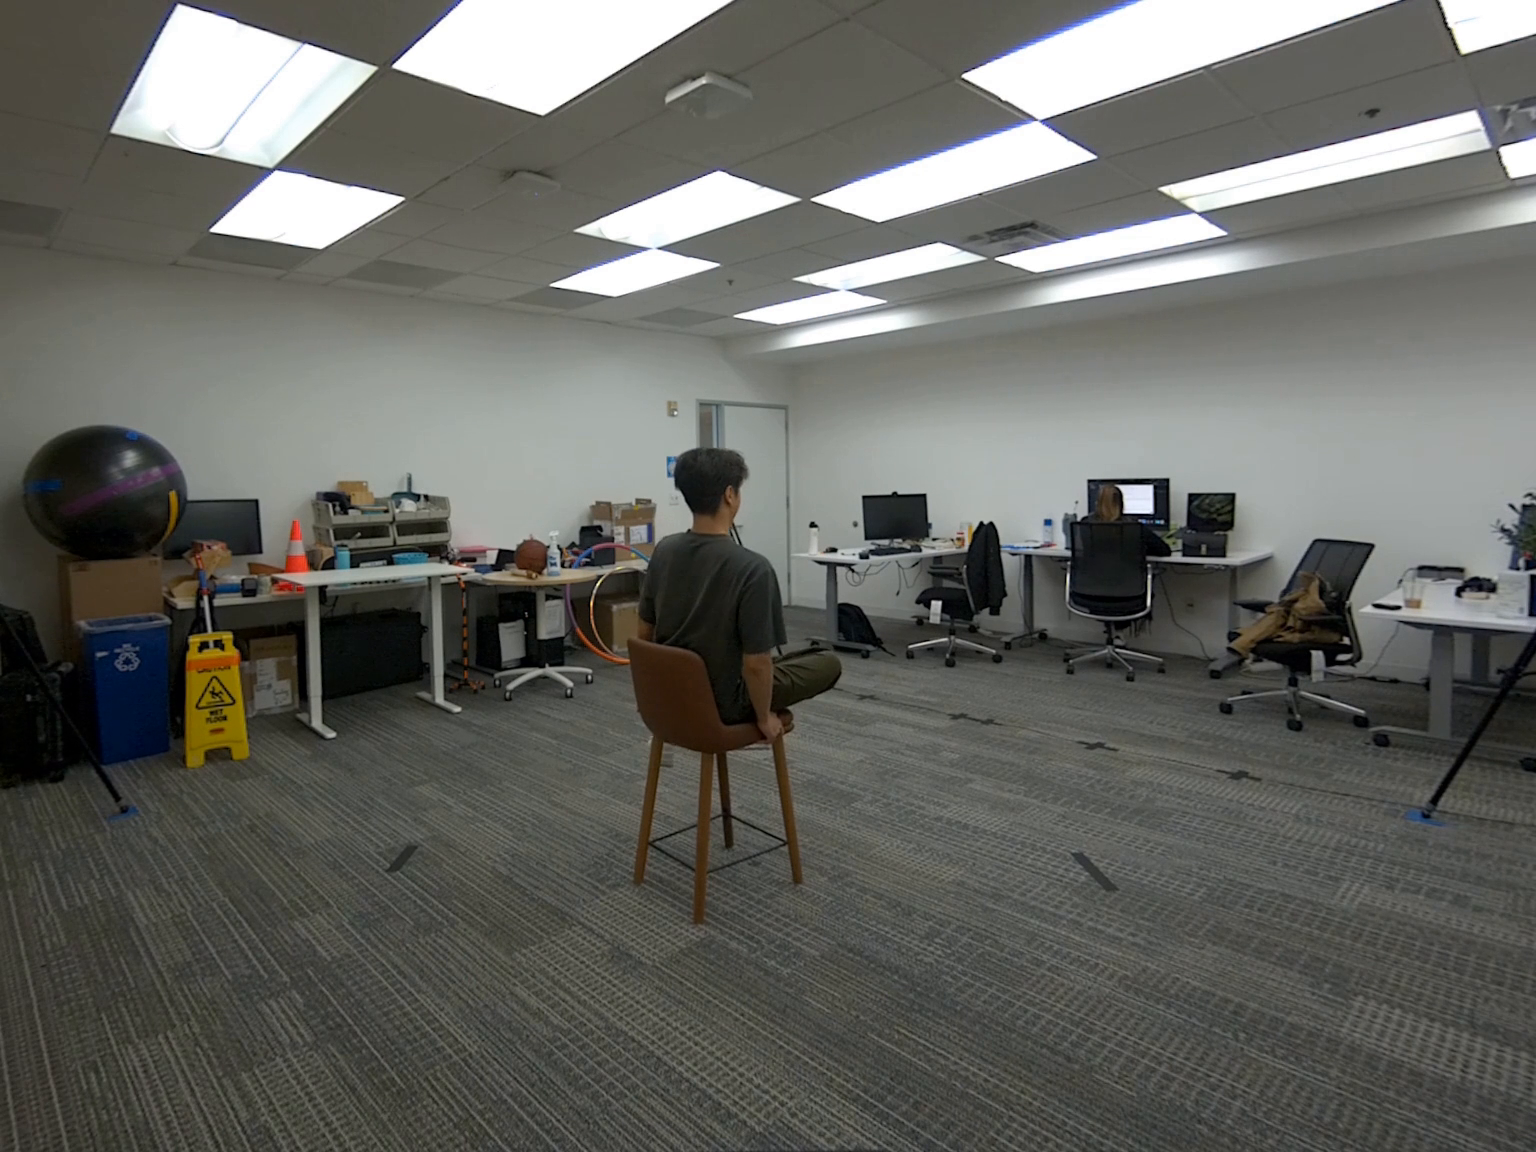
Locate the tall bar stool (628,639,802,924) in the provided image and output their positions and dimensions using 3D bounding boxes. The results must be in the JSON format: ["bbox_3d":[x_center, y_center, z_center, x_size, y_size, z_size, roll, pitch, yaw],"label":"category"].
[{"bbox_3d":[-0.195,0.632,2.940,0.456,0.885,0.470,-7,7,-39],"label":"tall bar stool"}]
